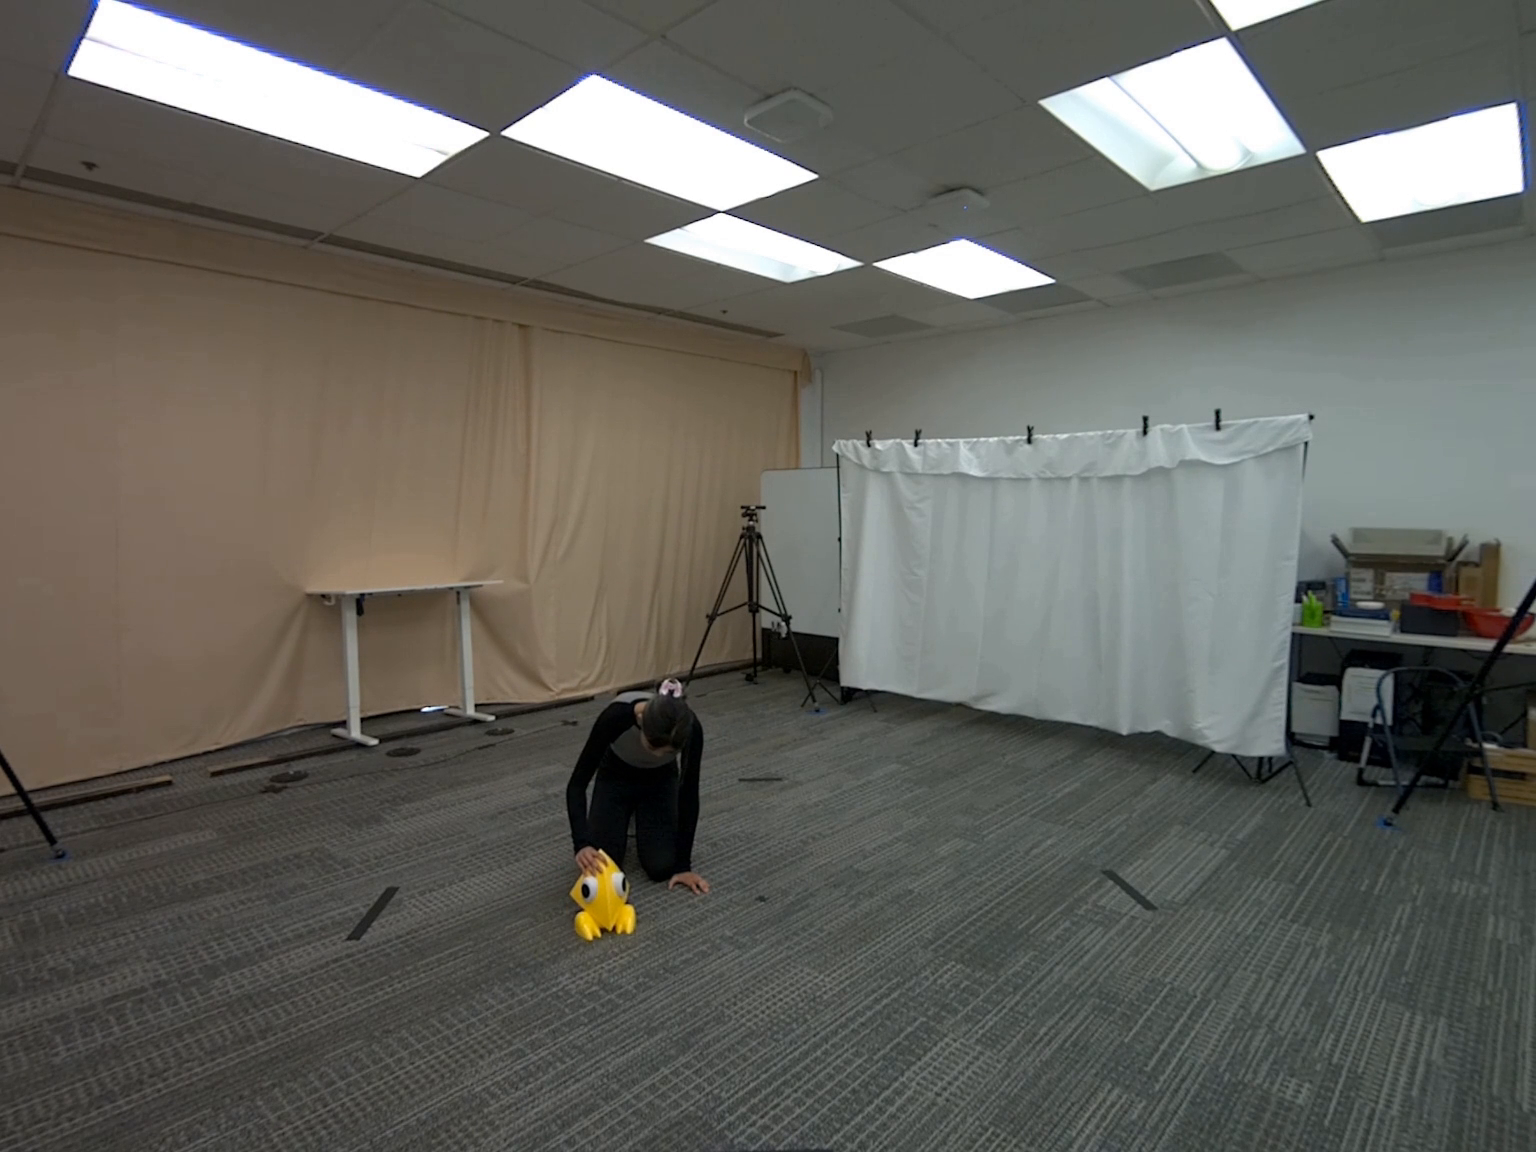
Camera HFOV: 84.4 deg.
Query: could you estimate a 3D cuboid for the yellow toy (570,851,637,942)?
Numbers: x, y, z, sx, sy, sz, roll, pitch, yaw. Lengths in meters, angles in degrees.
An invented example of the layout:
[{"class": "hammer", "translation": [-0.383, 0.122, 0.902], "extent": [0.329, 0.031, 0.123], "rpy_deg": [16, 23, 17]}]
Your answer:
[{"class": "yellow toy", "translation": [-0.544, 1.043, 2.805], "extent": [0.201, 0.230, 0.197], "rpy_deg": [-2, 3, -19]}]
